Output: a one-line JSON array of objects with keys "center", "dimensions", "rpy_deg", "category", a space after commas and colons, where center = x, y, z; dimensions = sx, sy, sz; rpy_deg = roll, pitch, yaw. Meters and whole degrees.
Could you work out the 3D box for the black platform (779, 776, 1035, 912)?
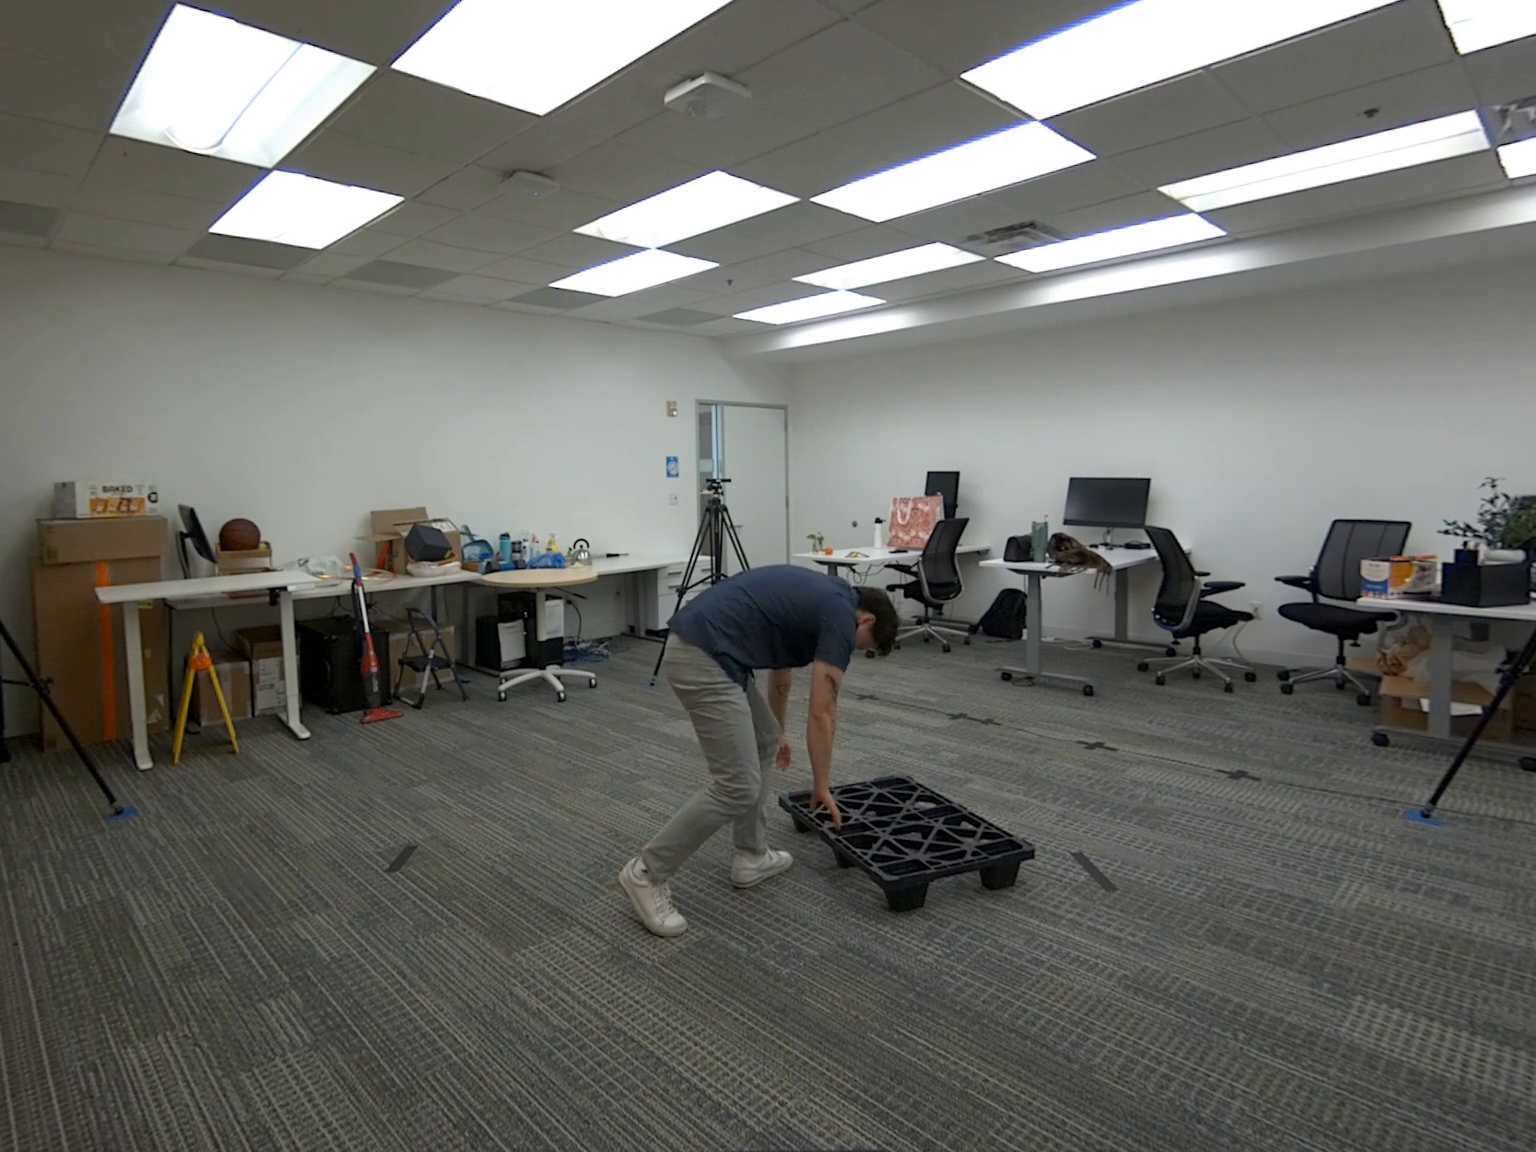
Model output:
[{"center": [0.480, 0.964, 3.158], "dimensions": [0.593, 0.143, 0.825], "rpy_deg": [-3, 7, -23], "category": "black platform"}]
